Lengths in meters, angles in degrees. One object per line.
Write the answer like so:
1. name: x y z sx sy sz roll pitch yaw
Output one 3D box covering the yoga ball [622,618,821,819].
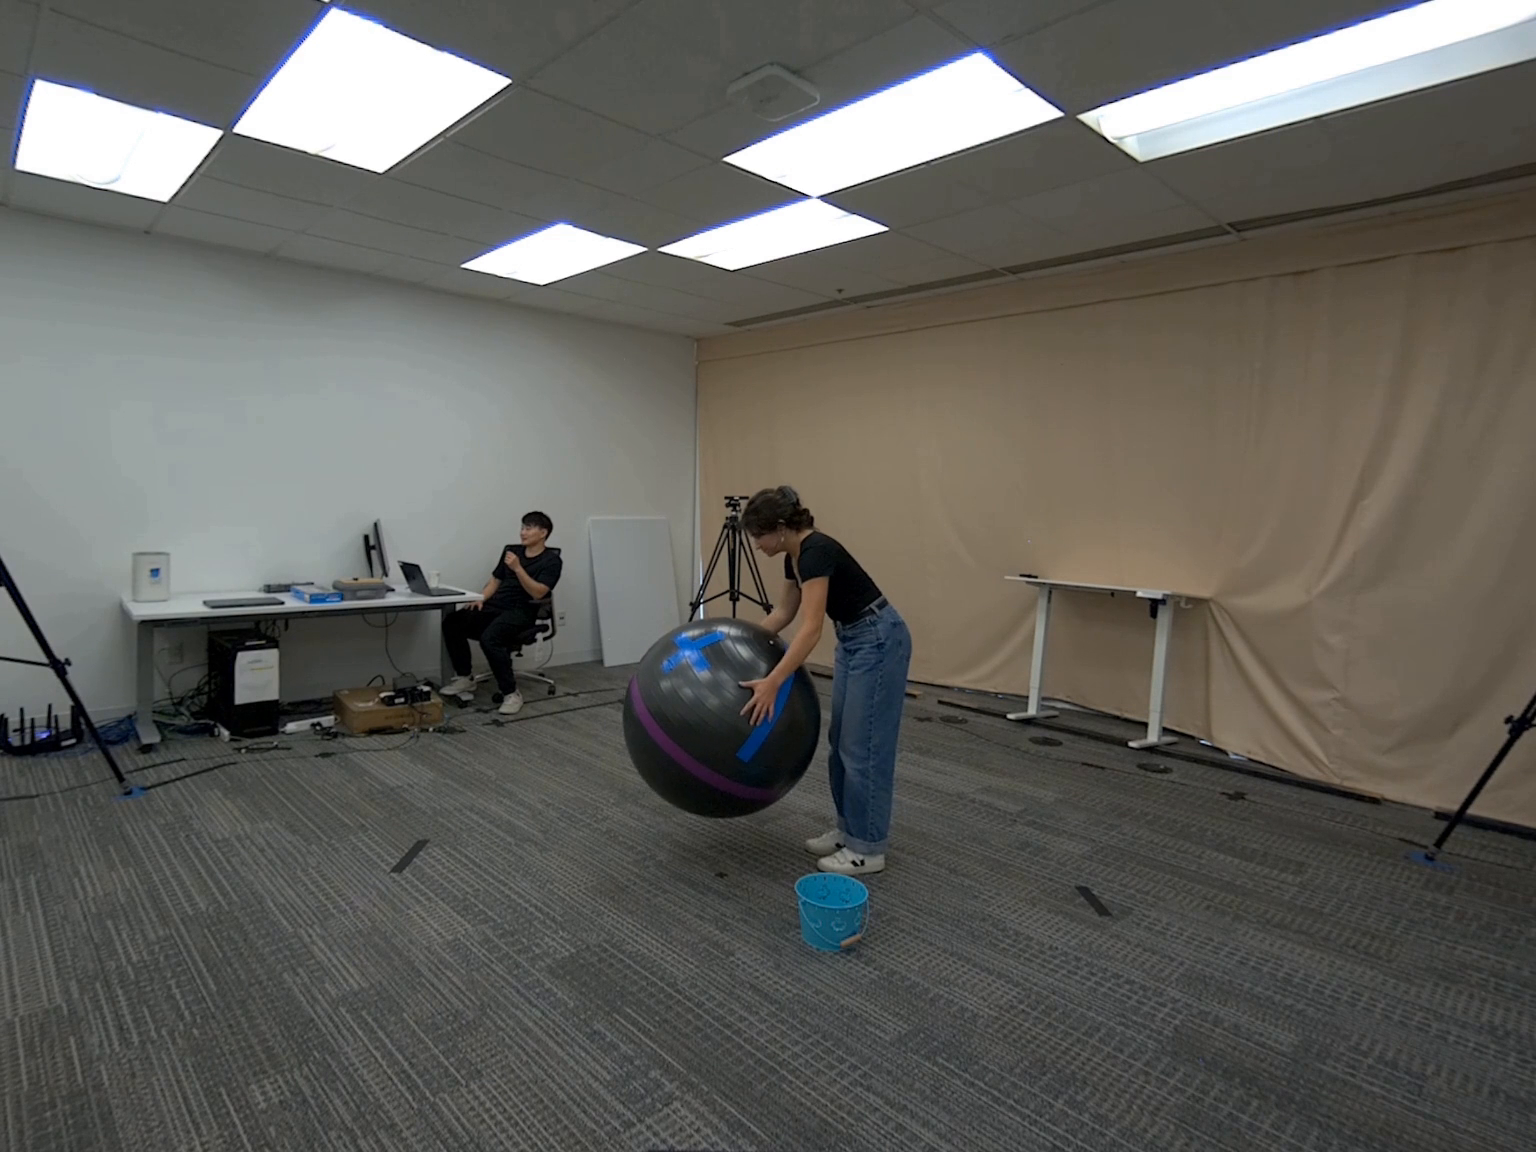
1. yoga ball: -0.192 0.574 3.254 0.757 0.756 0.761 1 4 -1
